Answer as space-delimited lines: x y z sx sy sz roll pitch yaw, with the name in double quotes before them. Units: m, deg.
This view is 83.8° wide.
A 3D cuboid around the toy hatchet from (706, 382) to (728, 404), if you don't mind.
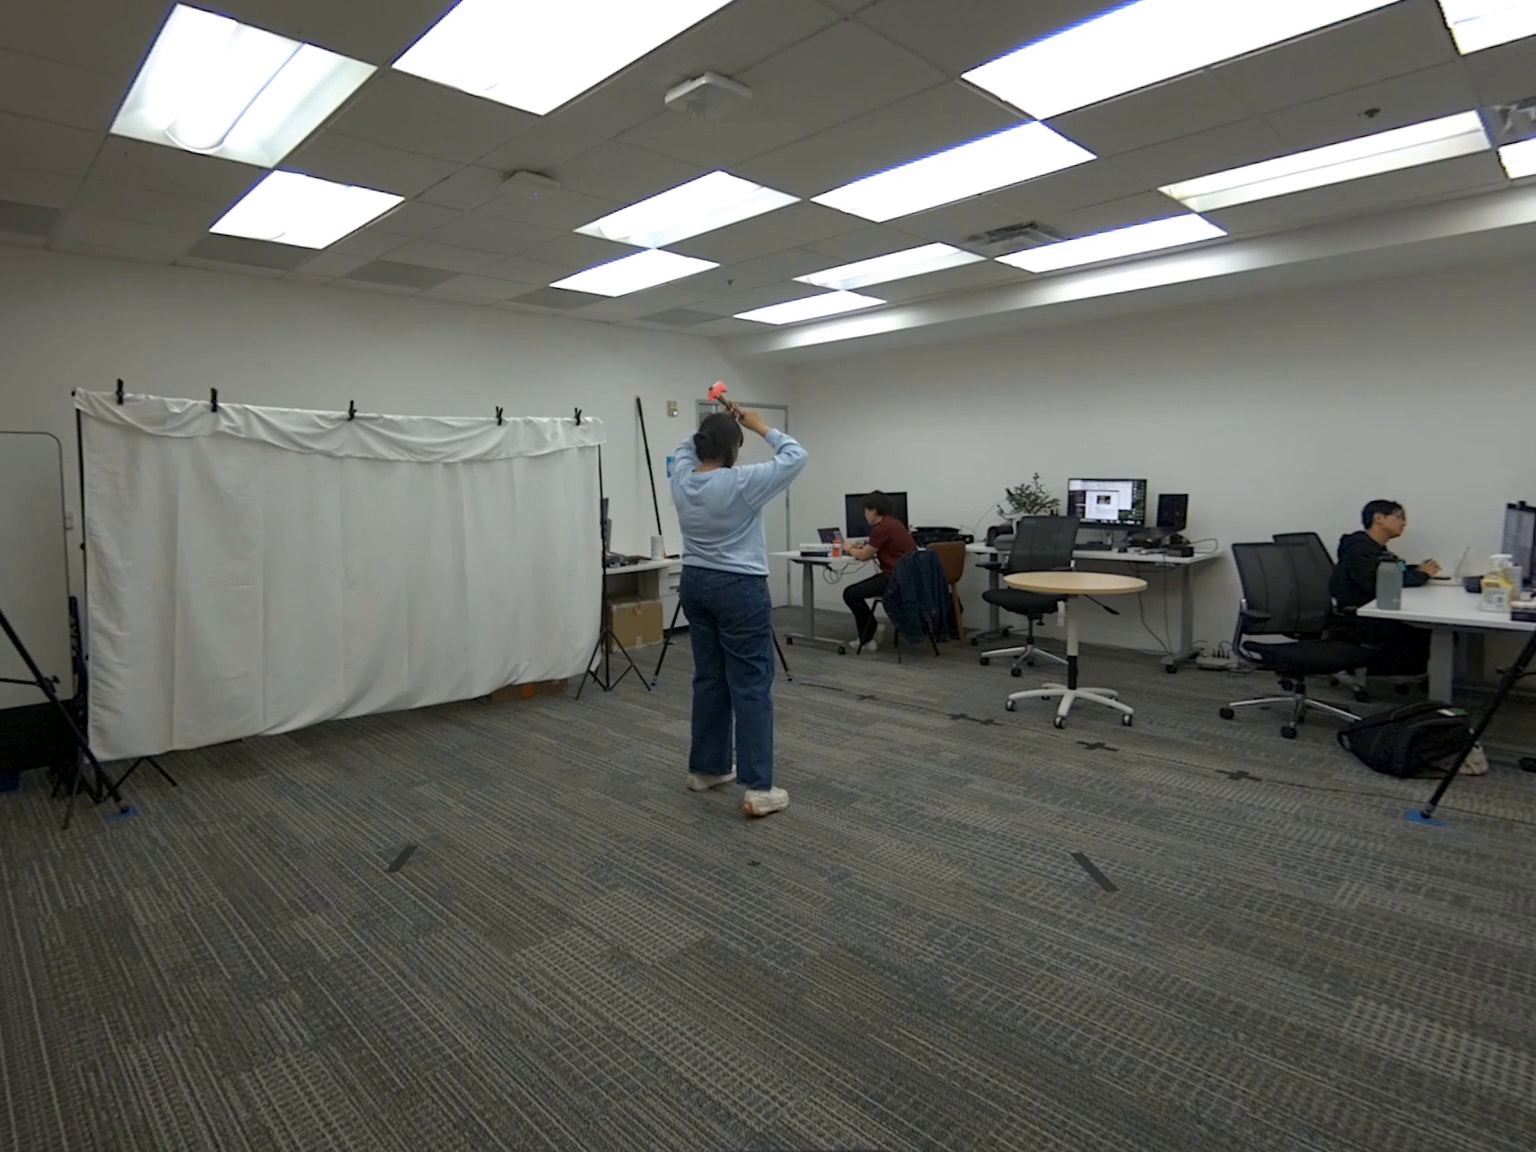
"toy hatchet" -0.152 -0.784 3.824 0.261 0.133 0.030 21 -29 -33
